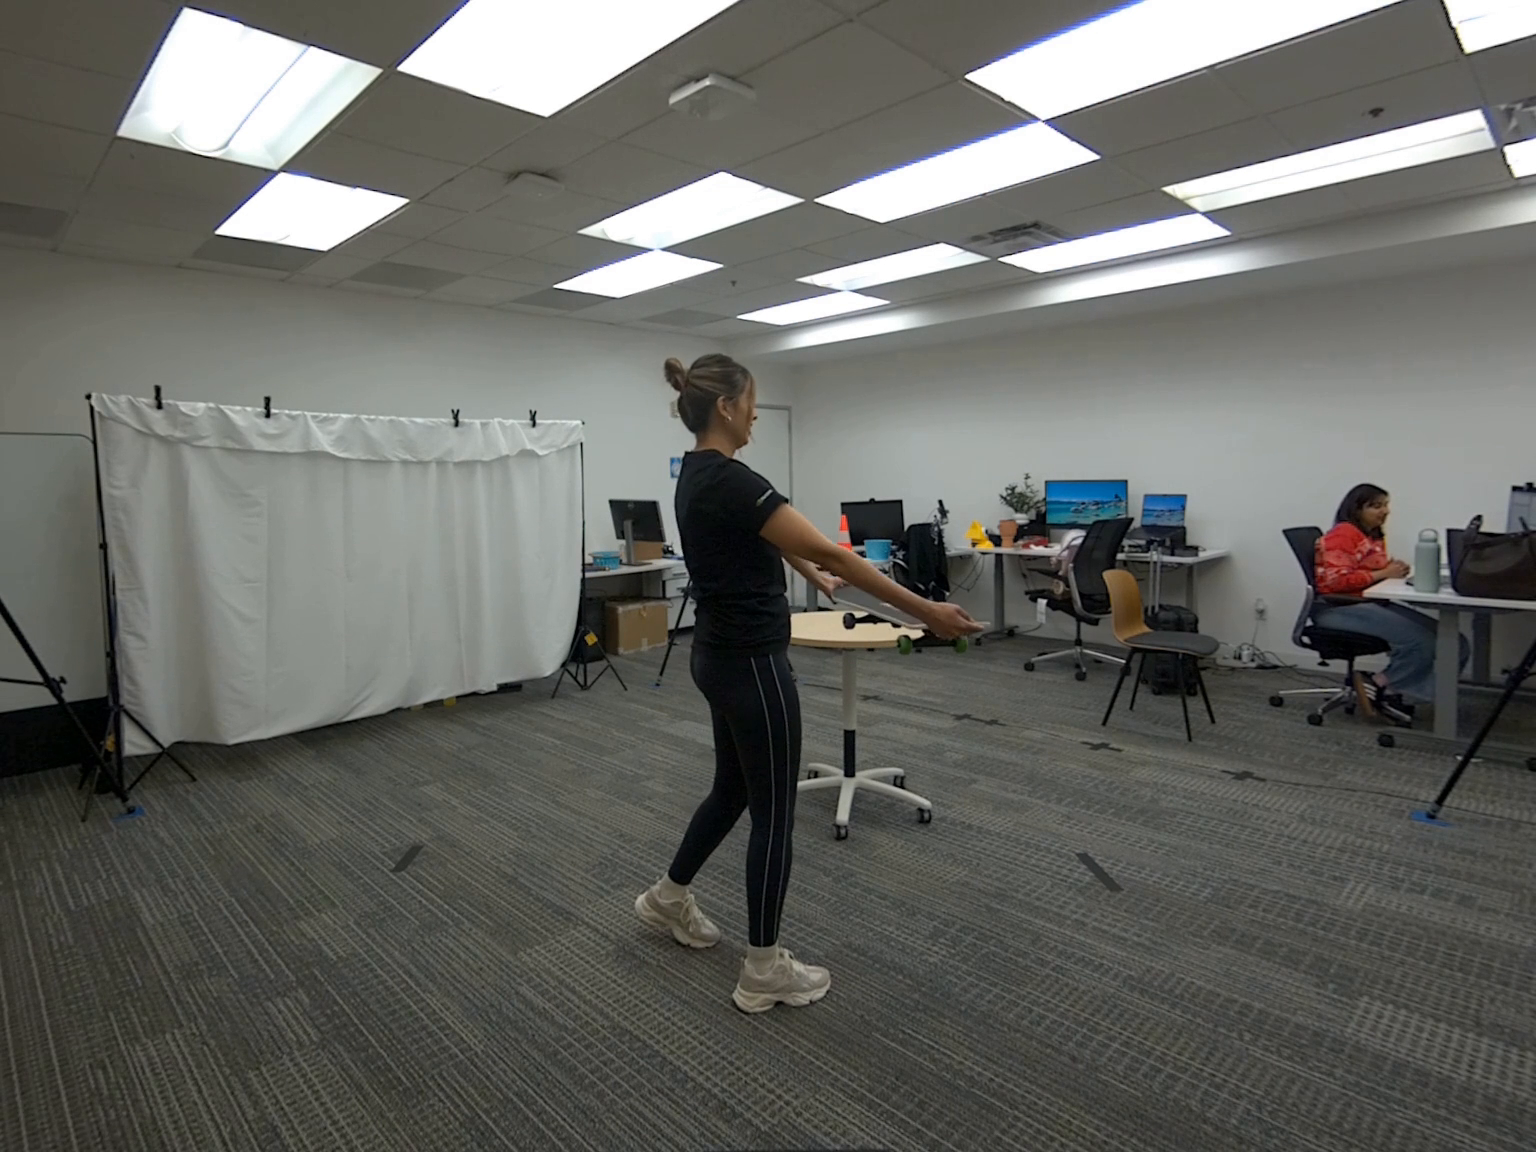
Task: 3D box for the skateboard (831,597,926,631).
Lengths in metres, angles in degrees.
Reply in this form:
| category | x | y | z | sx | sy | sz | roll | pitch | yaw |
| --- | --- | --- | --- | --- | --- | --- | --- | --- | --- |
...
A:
| category | x | y | z | sx | sy | sz | roll | pitch | yaw |
| --- | --- | --- | --- | --- | --- | --- | --- | --- | --- |
| skateboard | 0.361 | 0.127 | 2.391 | 0.191 | 0.110 | 0.797 | 1 | 5 | -13 |
